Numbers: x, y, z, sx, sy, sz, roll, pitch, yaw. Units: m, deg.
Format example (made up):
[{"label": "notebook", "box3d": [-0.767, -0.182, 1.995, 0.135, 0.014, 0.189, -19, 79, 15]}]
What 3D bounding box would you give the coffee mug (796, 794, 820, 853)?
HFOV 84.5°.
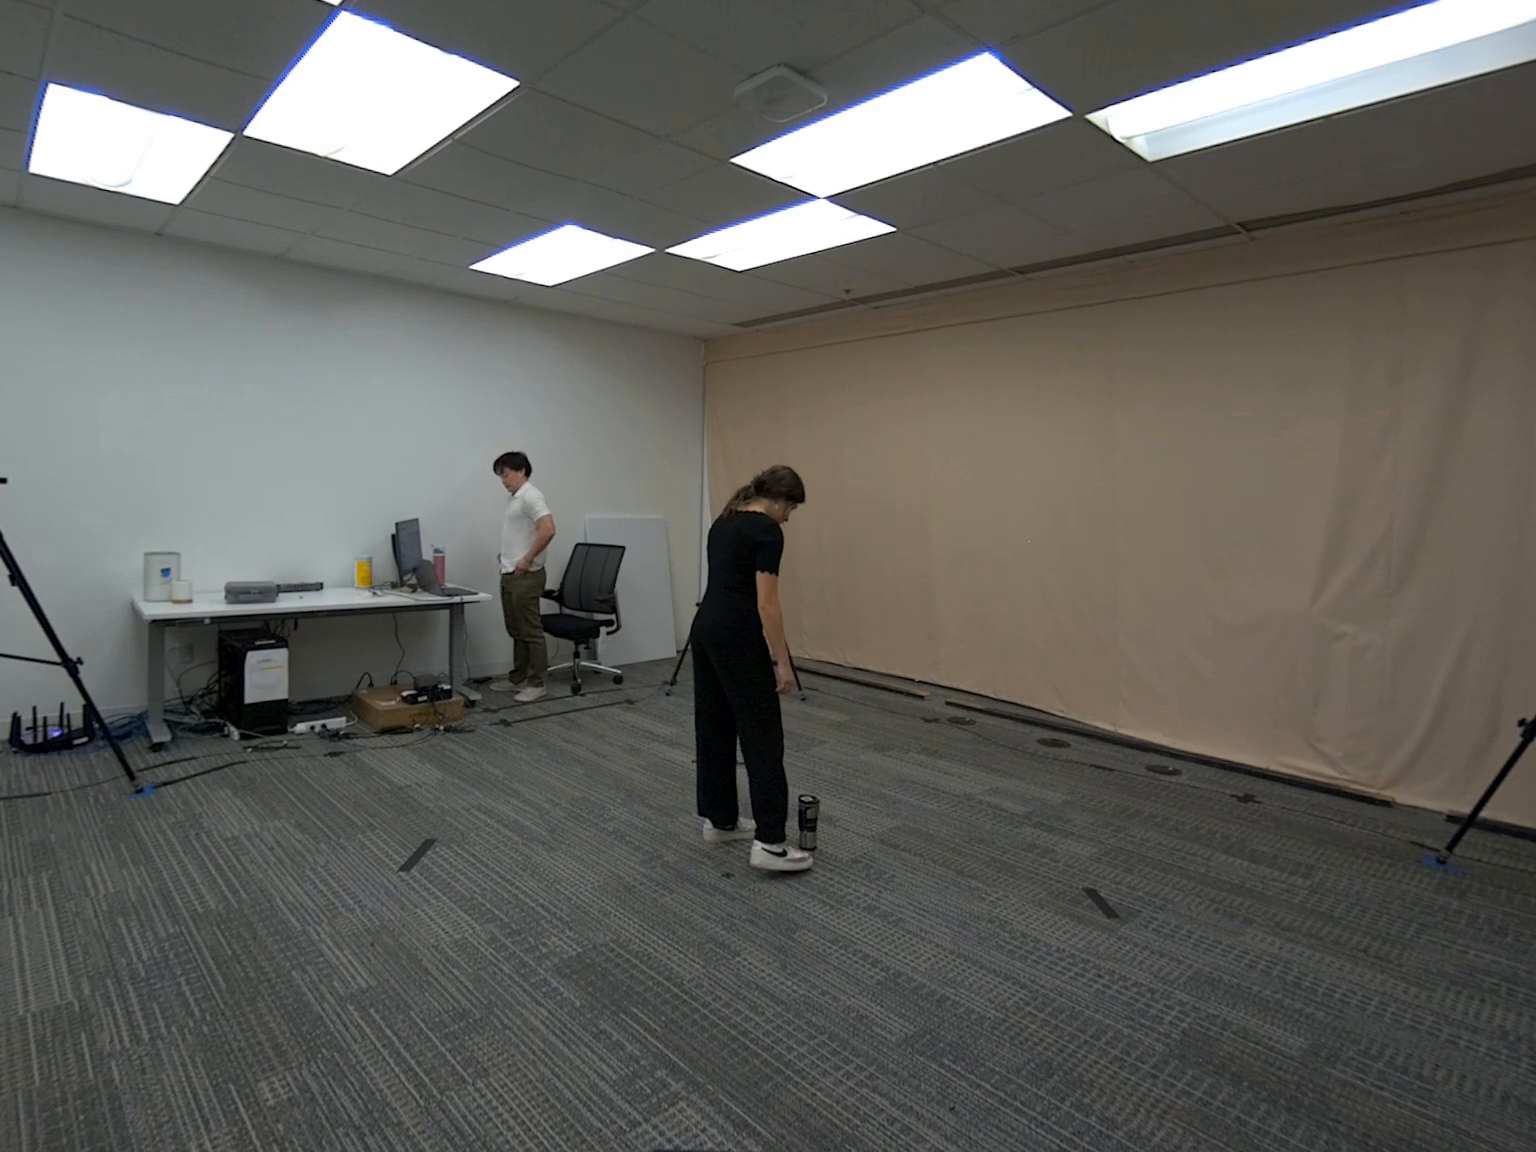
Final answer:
[{"label": "coffee mug", "box3d": [0.132, 0.990, 3.361, 0.119, 0.203, 0.090, 3, 3, -37]}]
